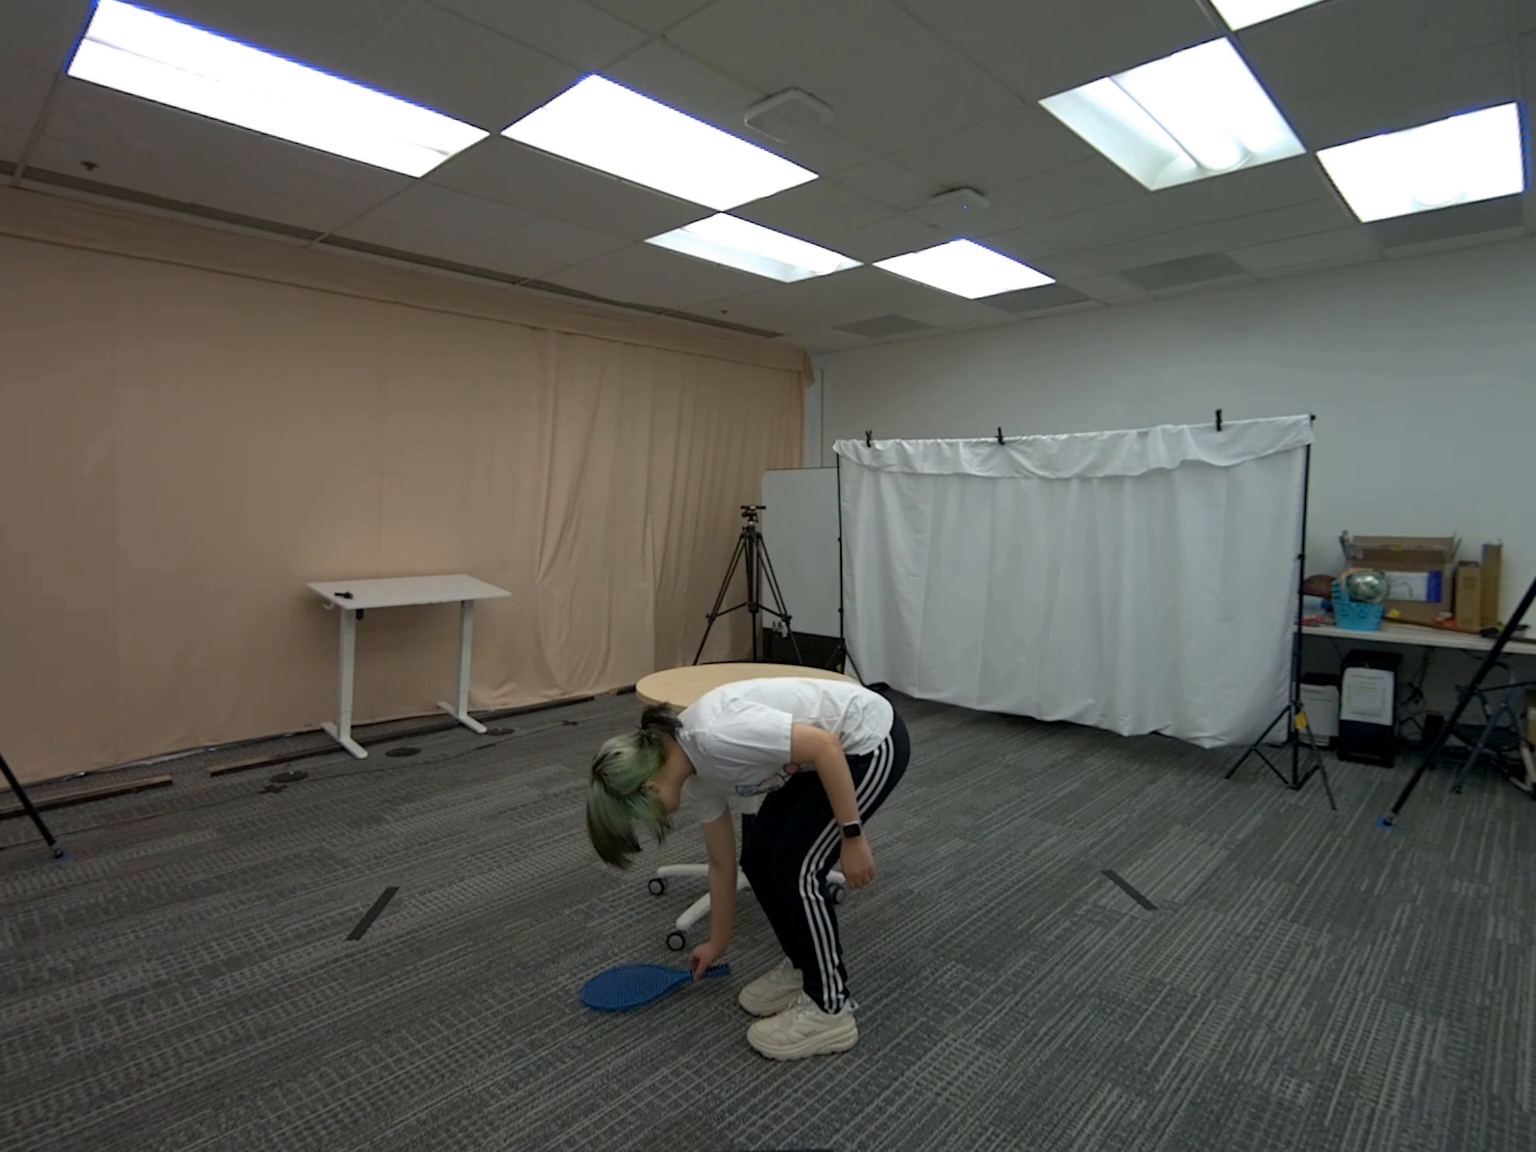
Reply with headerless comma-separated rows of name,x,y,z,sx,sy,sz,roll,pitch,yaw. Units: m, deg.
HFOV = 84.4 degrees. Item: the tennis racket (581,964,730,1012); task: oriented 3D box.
tennis racket,-0.322,1.157,2.414,0.431,0.032,0.215,-8,3,-4
